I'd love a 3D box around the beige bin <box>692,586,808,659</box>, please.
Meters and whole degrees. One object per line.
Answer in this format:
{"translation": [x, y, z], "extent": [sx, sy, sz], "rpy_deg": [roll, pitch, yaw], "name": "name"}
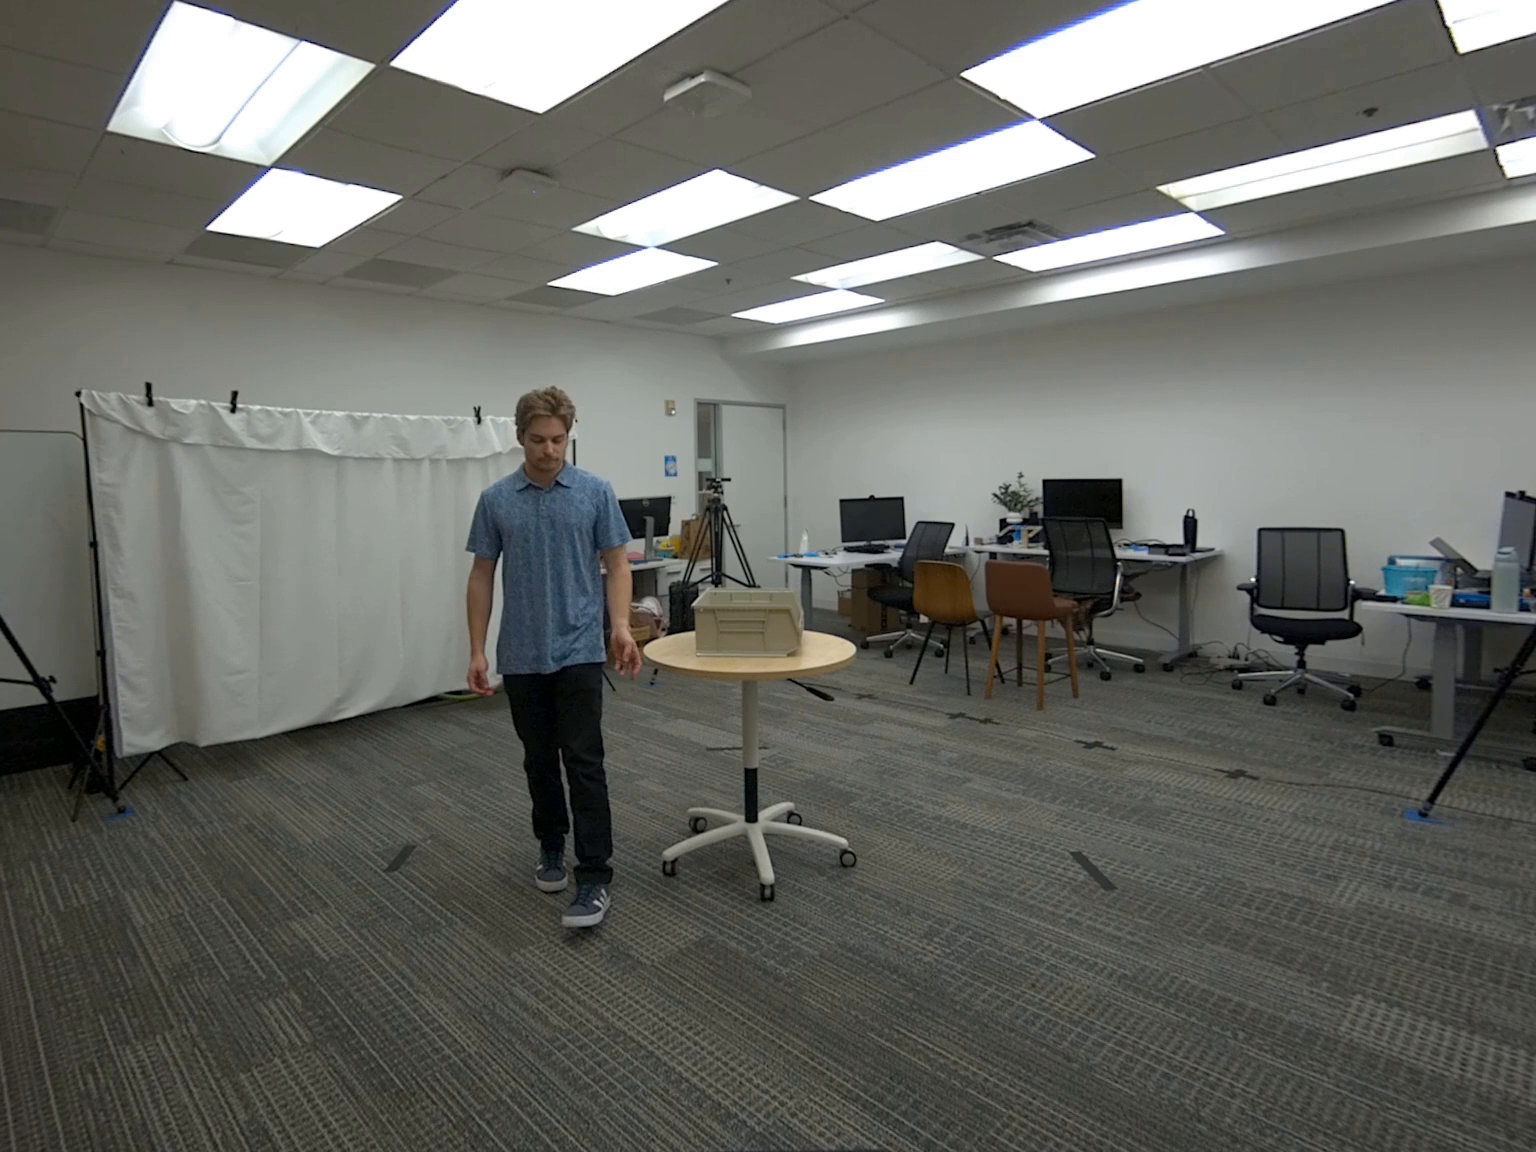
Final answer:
{"translation": [-0.056, 0.159, 3.130], "extent": [0.380, 0.188, 0.422], "rpy_deg": [-1, 6, 5], "name": "beige bin"}
